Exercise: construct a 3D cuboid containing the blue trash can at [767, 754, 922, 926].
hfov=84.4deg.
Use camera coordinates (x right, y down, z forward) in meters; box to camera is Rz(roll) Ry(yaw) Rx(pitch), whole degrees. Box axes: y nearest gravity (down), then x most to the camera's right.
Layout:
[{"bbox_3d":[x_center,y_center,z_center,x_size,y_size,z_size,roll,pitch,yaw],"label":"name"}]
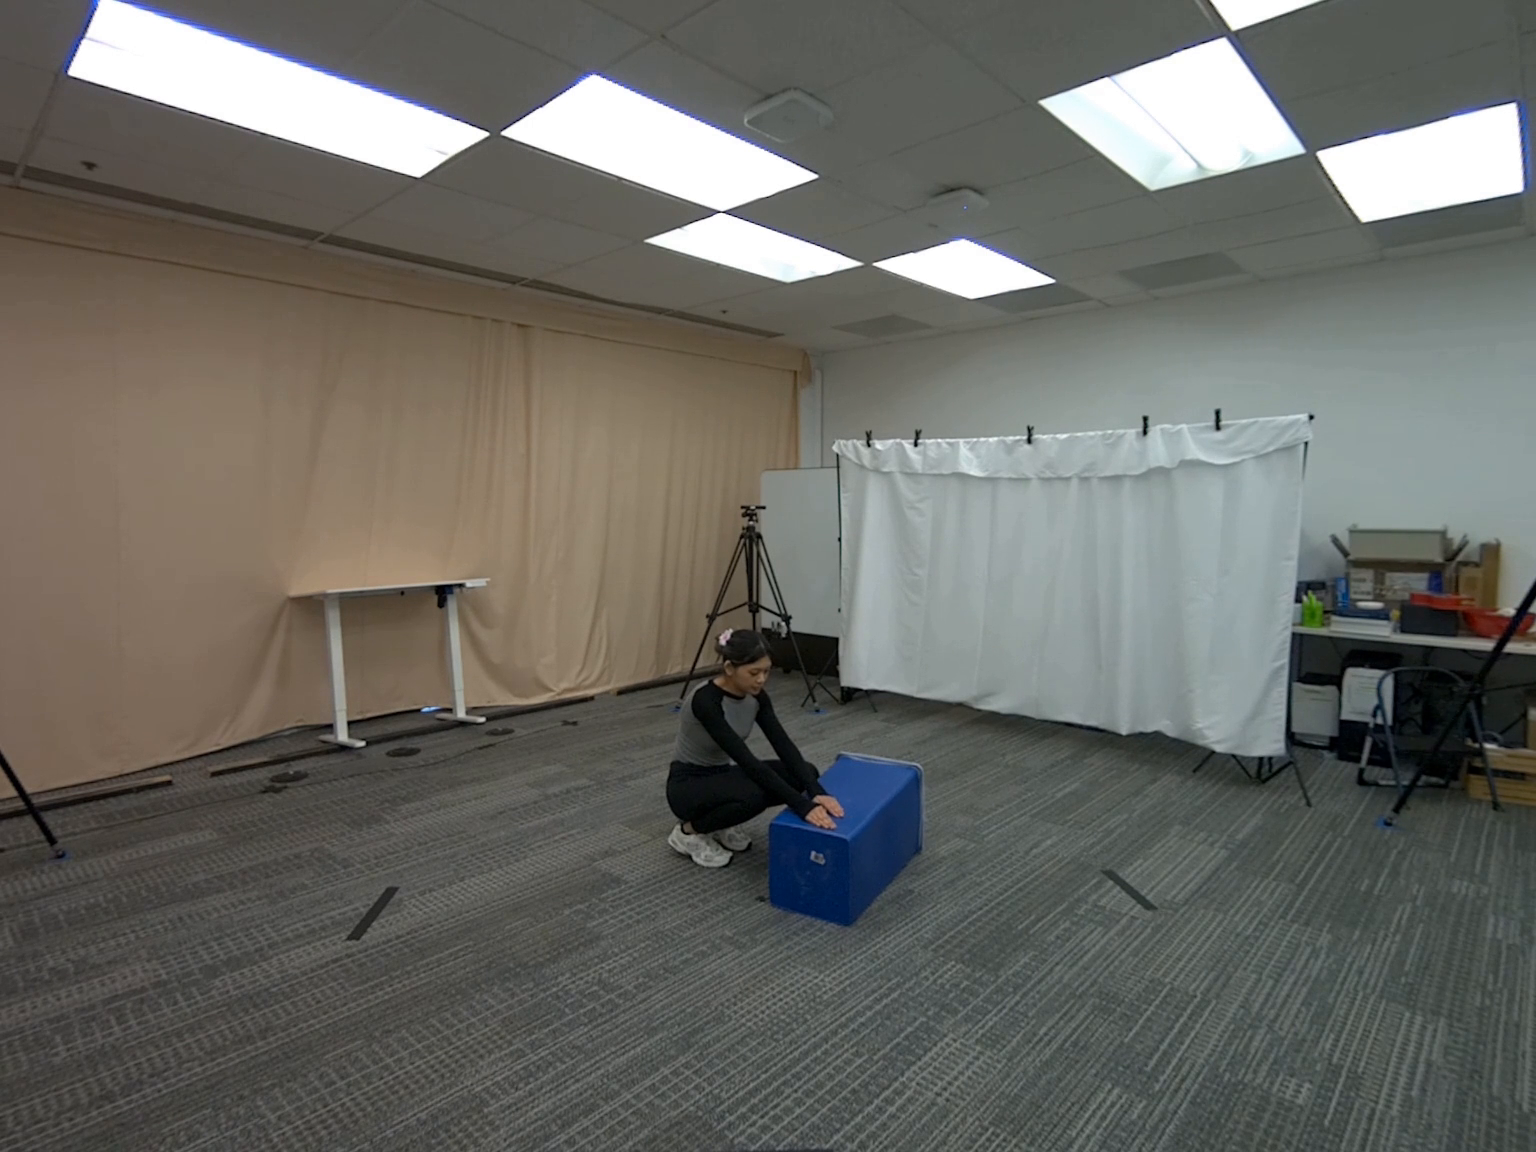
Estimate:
[{"bbox_3d":[0.297,0.959,3.144,0.385,0.376,0.696,3,7,29],"label":"blue trash can"}]
